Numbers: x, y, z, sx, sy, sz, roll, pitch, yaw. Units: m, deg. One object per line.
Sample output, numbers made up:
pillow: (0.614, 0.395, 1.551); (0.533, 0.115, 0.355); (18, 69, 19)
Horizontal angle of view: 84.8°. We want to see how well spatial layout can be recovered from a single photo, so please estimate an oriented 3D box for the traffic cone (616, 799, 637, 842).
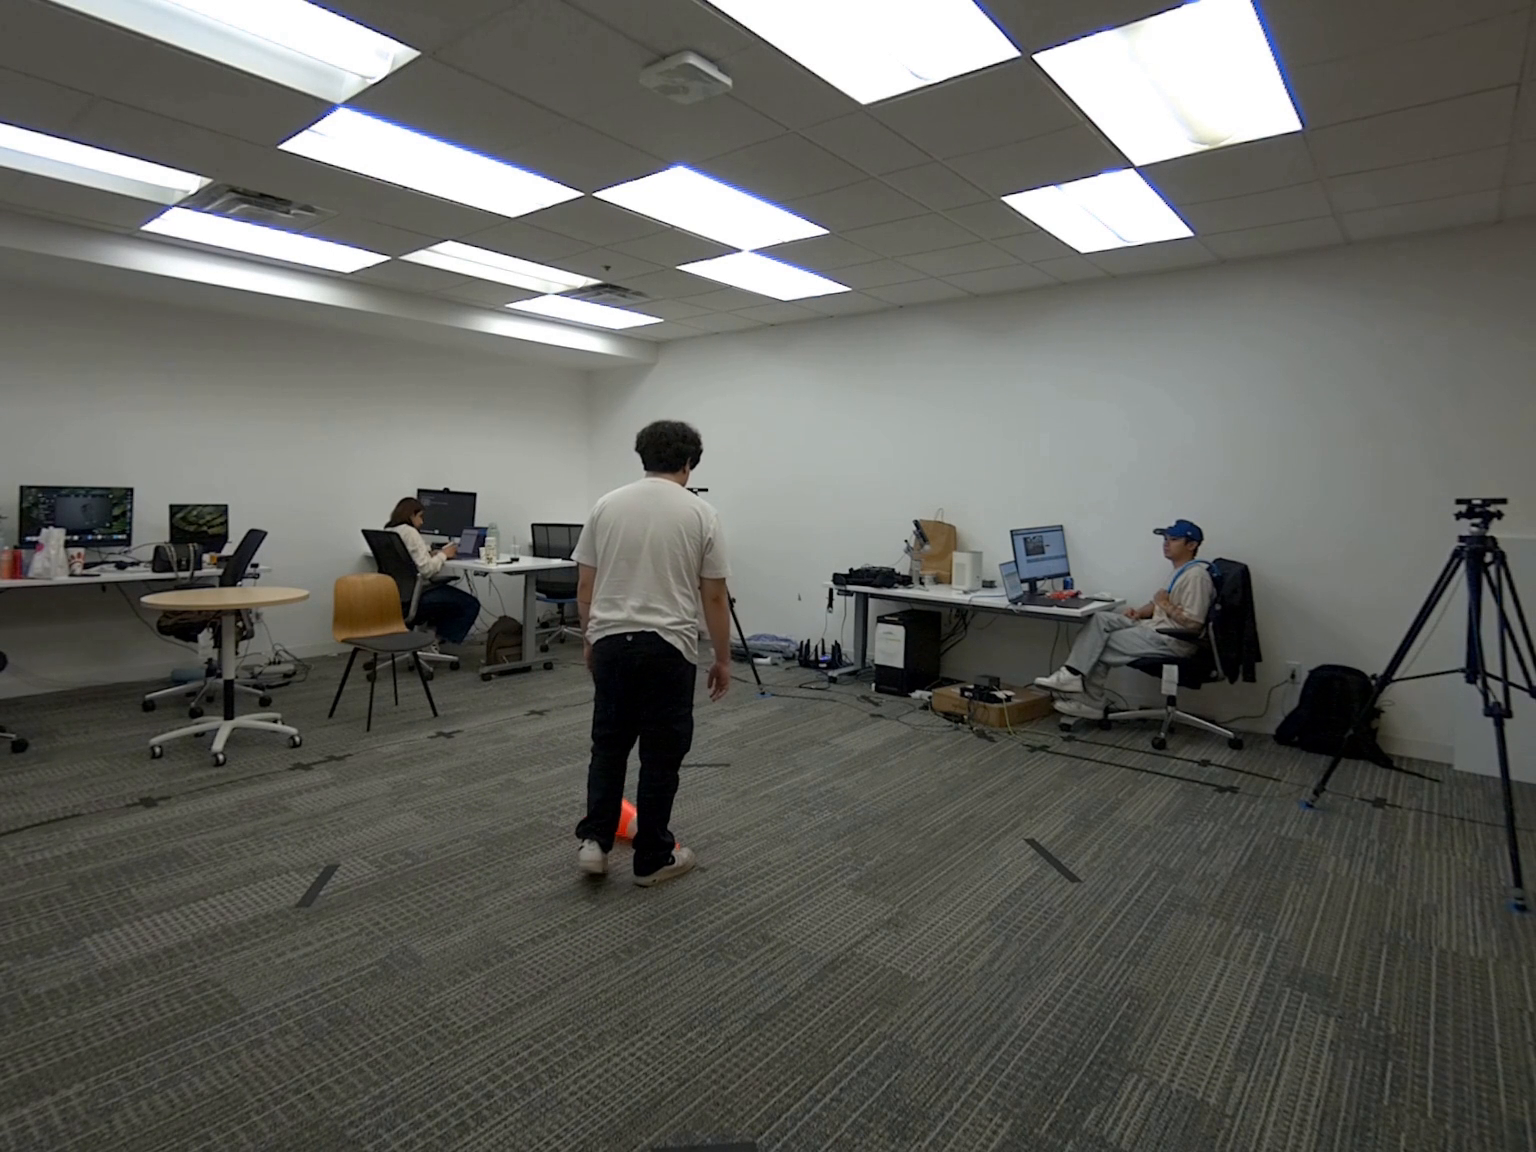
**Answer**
traffic cone: (-0.516, 0.986, 3.339); (0.396, 0.202, 0.200); (19, 13, 27)
